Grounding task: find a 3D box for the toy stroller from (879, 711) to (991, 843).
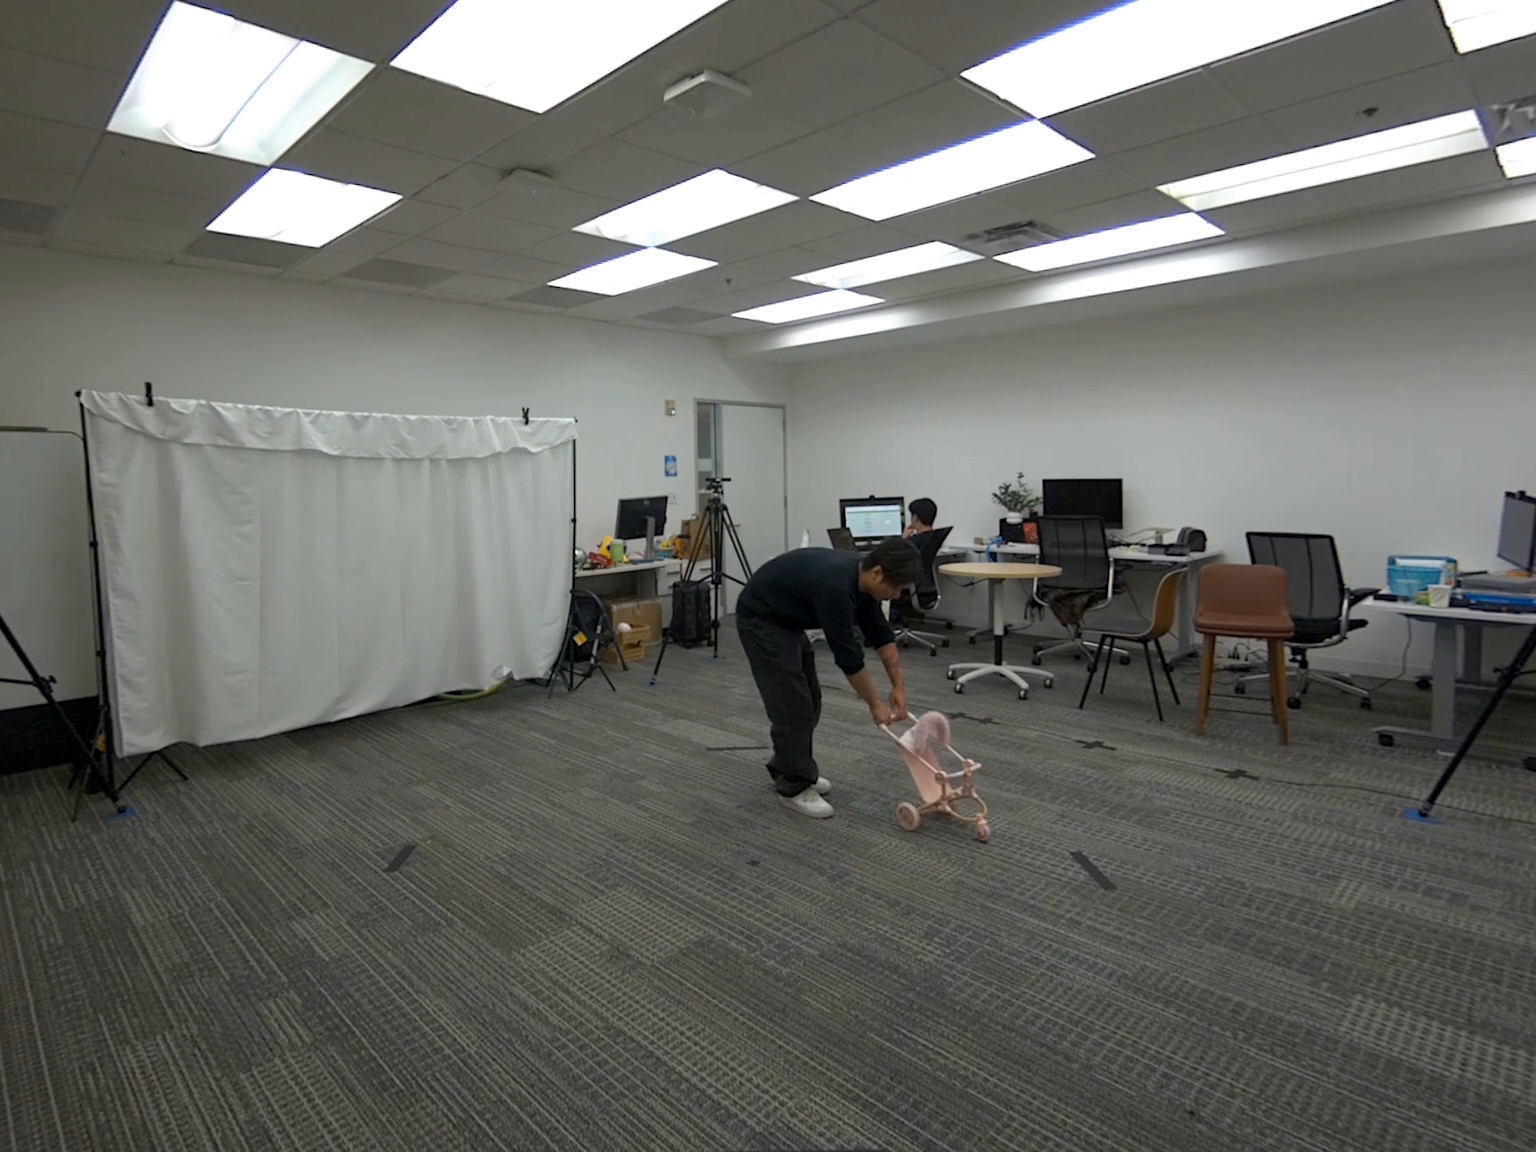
[{"bbox_3d":[0.671,0.775,3.397,0.274,0.542,0.346,-5,-13,-37],"label":"toy stroller"}]
